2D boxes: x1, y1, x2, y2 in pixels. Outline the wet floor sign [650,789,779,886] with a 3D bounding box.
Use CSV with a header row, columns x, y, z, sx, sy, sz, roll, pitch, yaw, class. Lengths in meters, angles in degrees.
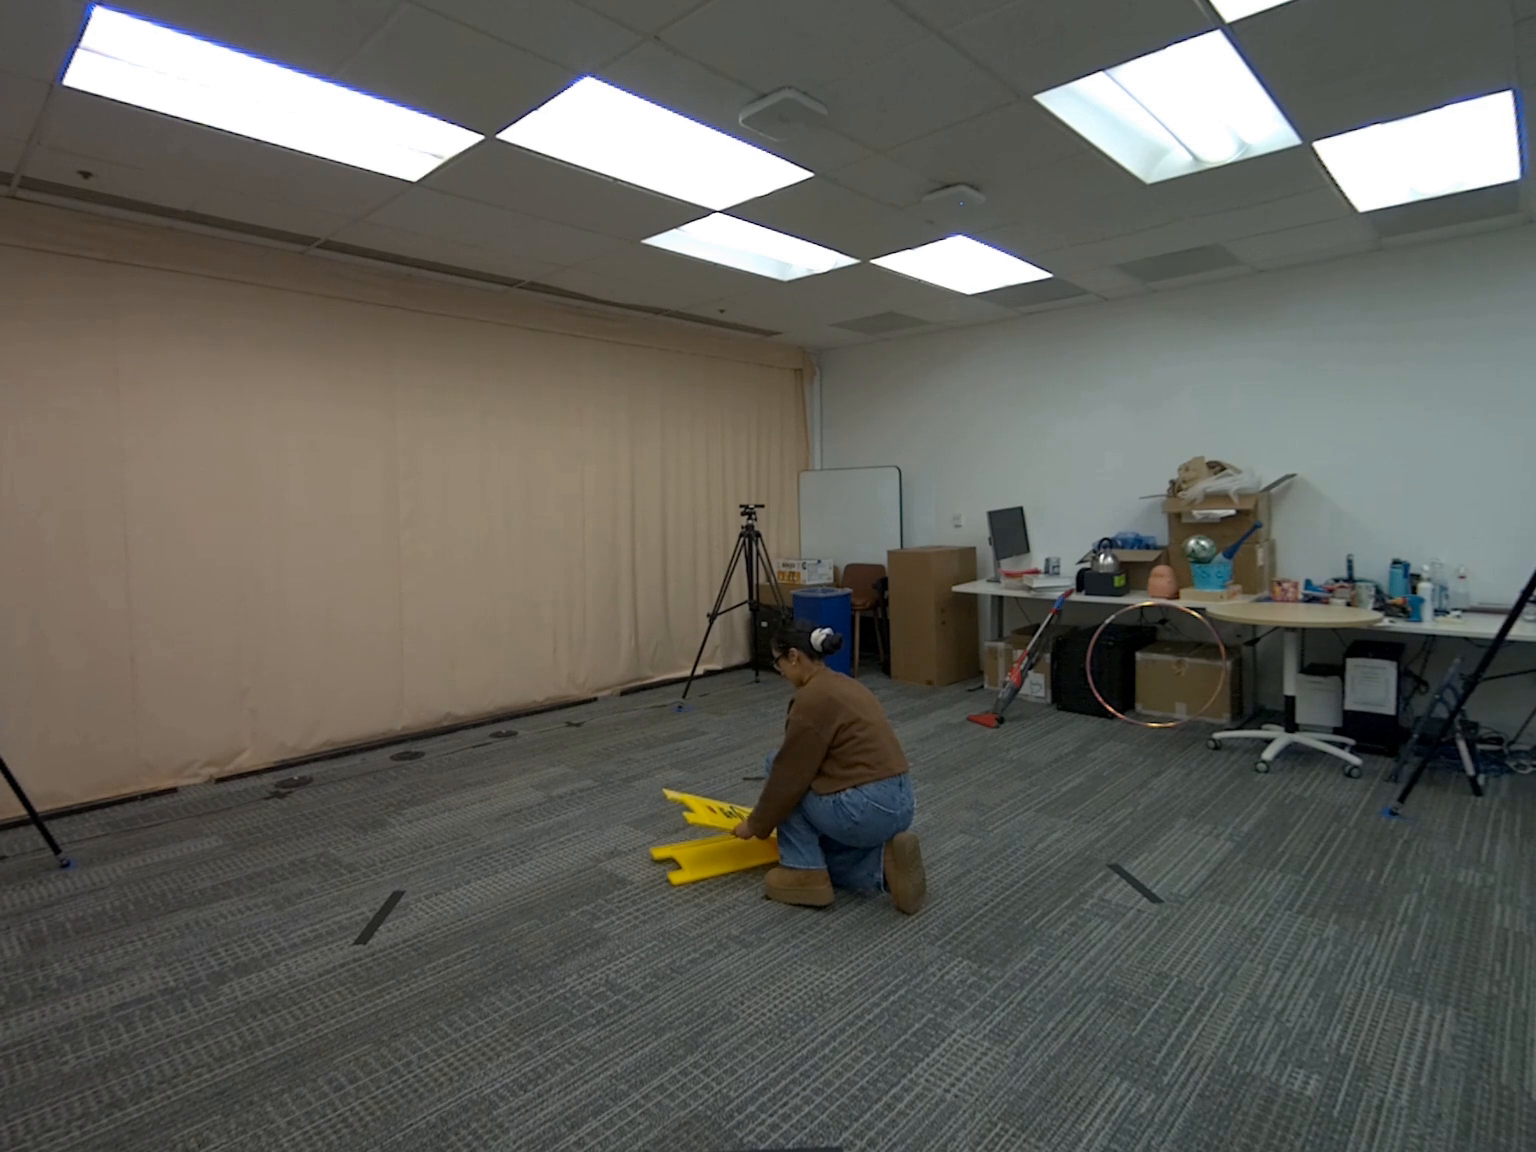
x,y,z,sx,sy,sz,roll,pitch,yaw,class
-0.097,1.026,3.319,0.629,0.289,0.290,9,7,-25,wet floor sign
